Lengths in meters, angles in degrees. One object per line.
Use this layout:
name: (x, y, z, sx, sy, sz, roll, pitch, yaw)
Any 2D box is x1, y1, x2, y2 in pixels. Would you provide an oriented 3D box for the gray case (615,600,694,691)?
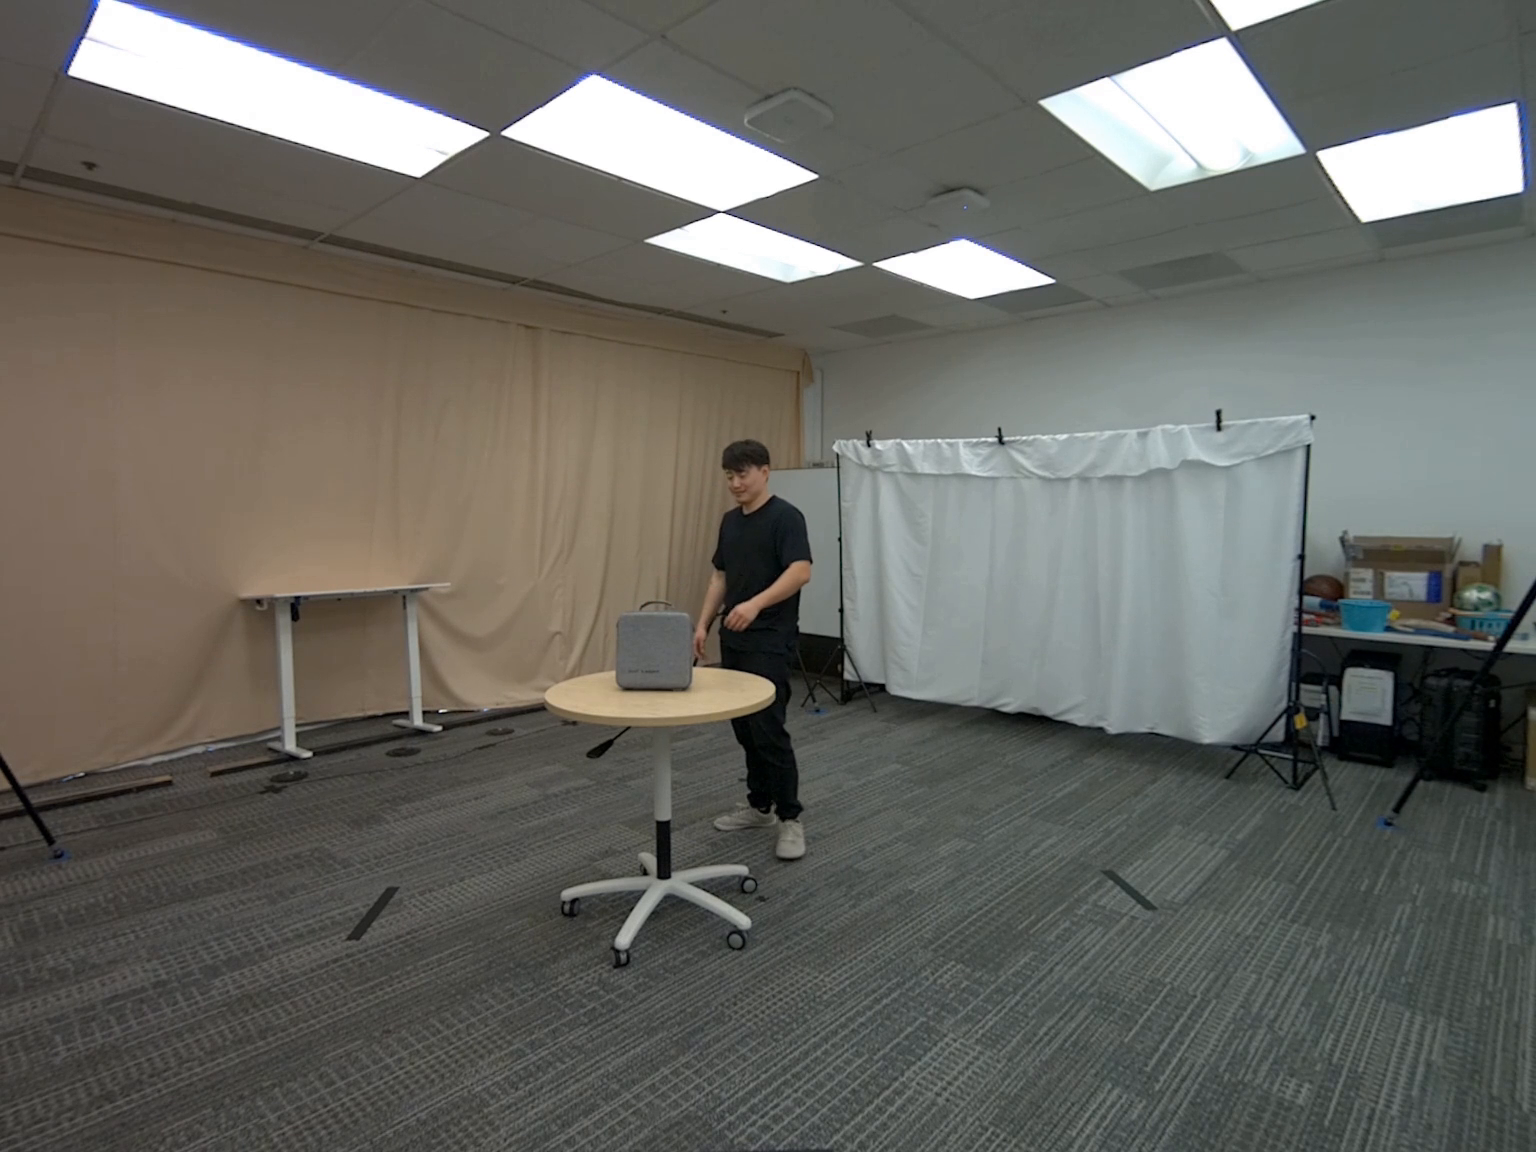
gray case: (-0.381, 0.245, 2.826, 0.258, 0.262, 0.103, 2, -7, 4)
